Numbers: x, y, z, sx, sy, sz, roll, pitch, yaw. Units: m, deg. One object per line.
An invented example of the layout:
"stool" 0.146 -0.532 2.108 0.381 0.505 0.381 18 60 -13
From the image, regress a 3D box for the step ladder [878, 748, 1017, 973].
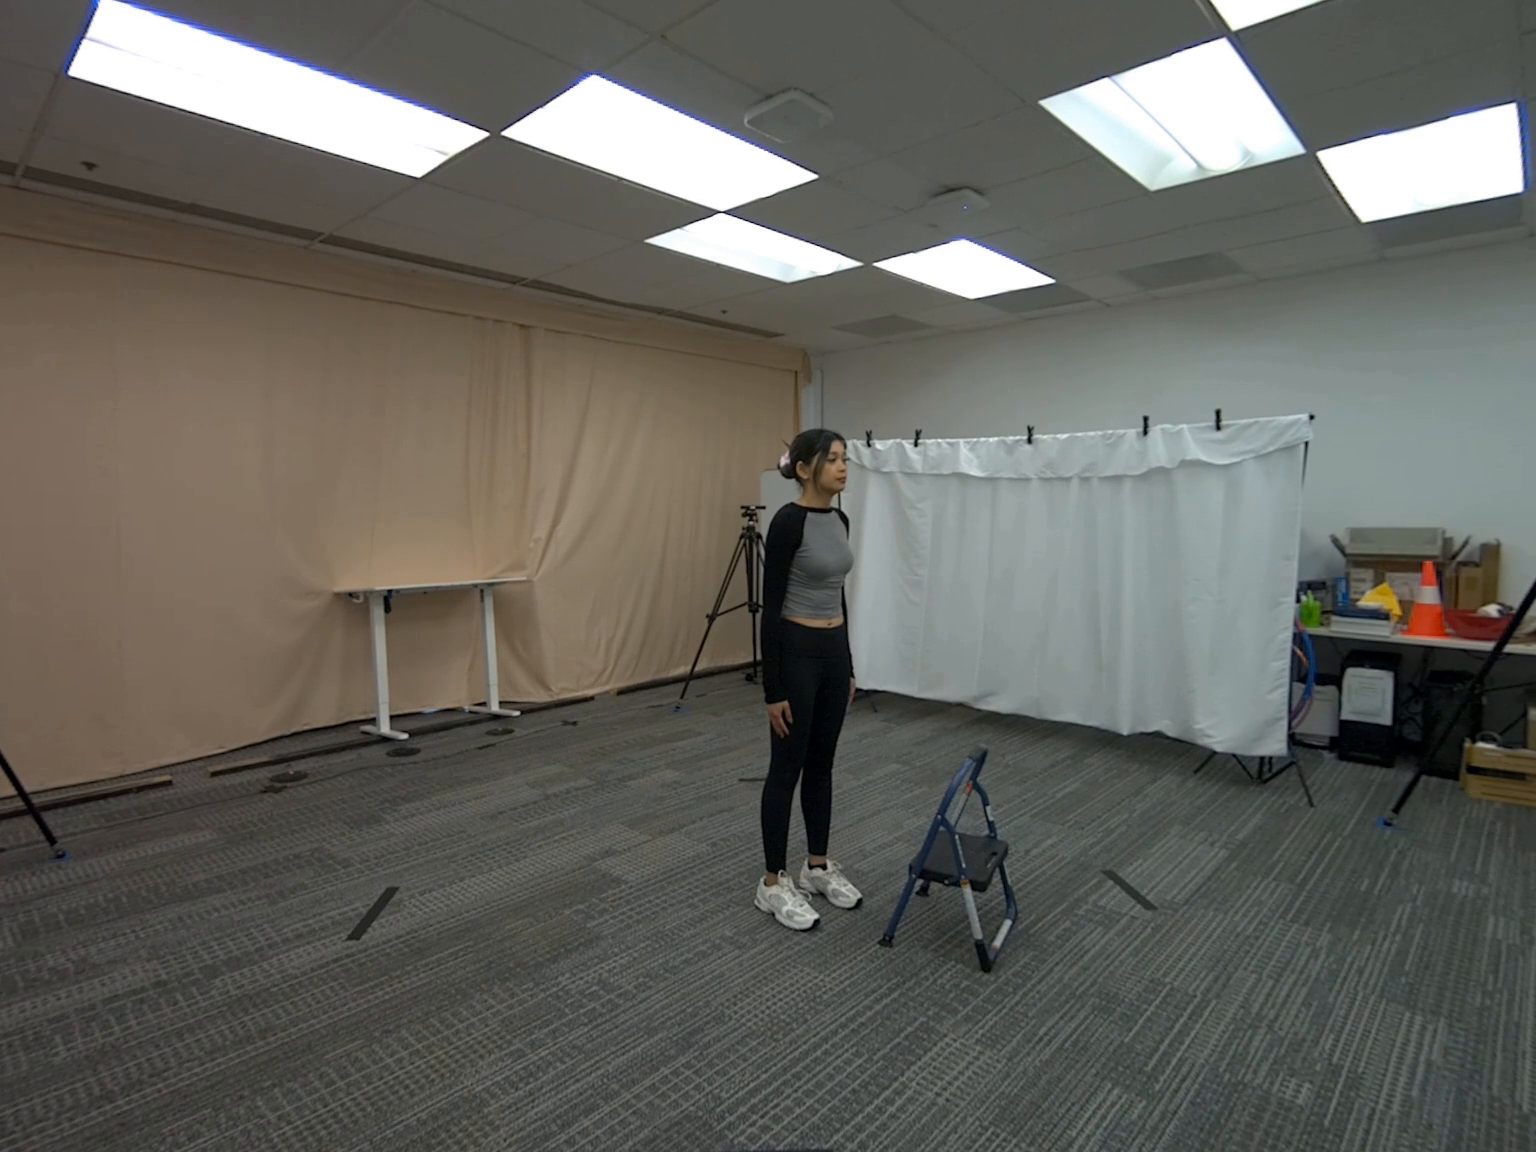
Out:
"step ladder" 0.605 0.860 2.742 0.359 0.604 0.420 2 4 28
